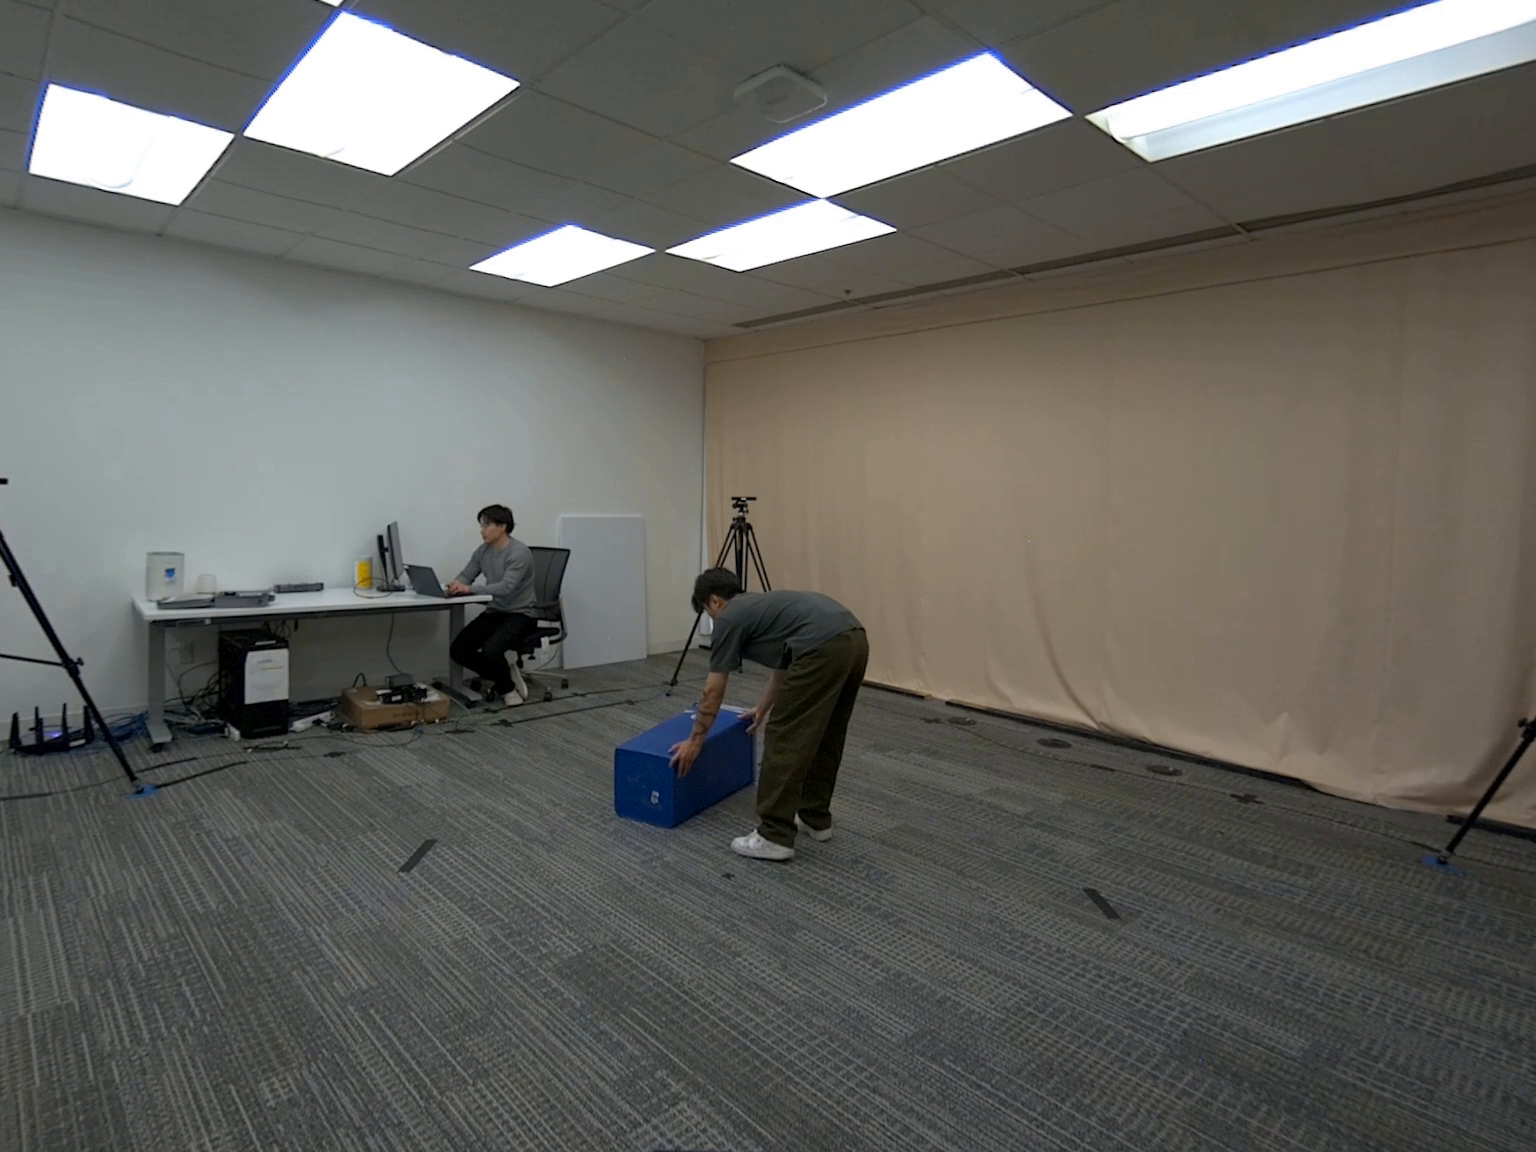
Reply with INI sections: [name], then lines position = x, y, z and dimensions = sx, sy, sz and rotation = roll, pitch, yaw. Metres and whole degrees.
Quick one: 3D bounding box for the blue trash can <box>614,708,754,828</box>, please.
[blue trash can]
position = -0.375, 0.857, 3.890
dimensions = 0.386, 0.372, 0.701
rotation = 4, 7, 27
